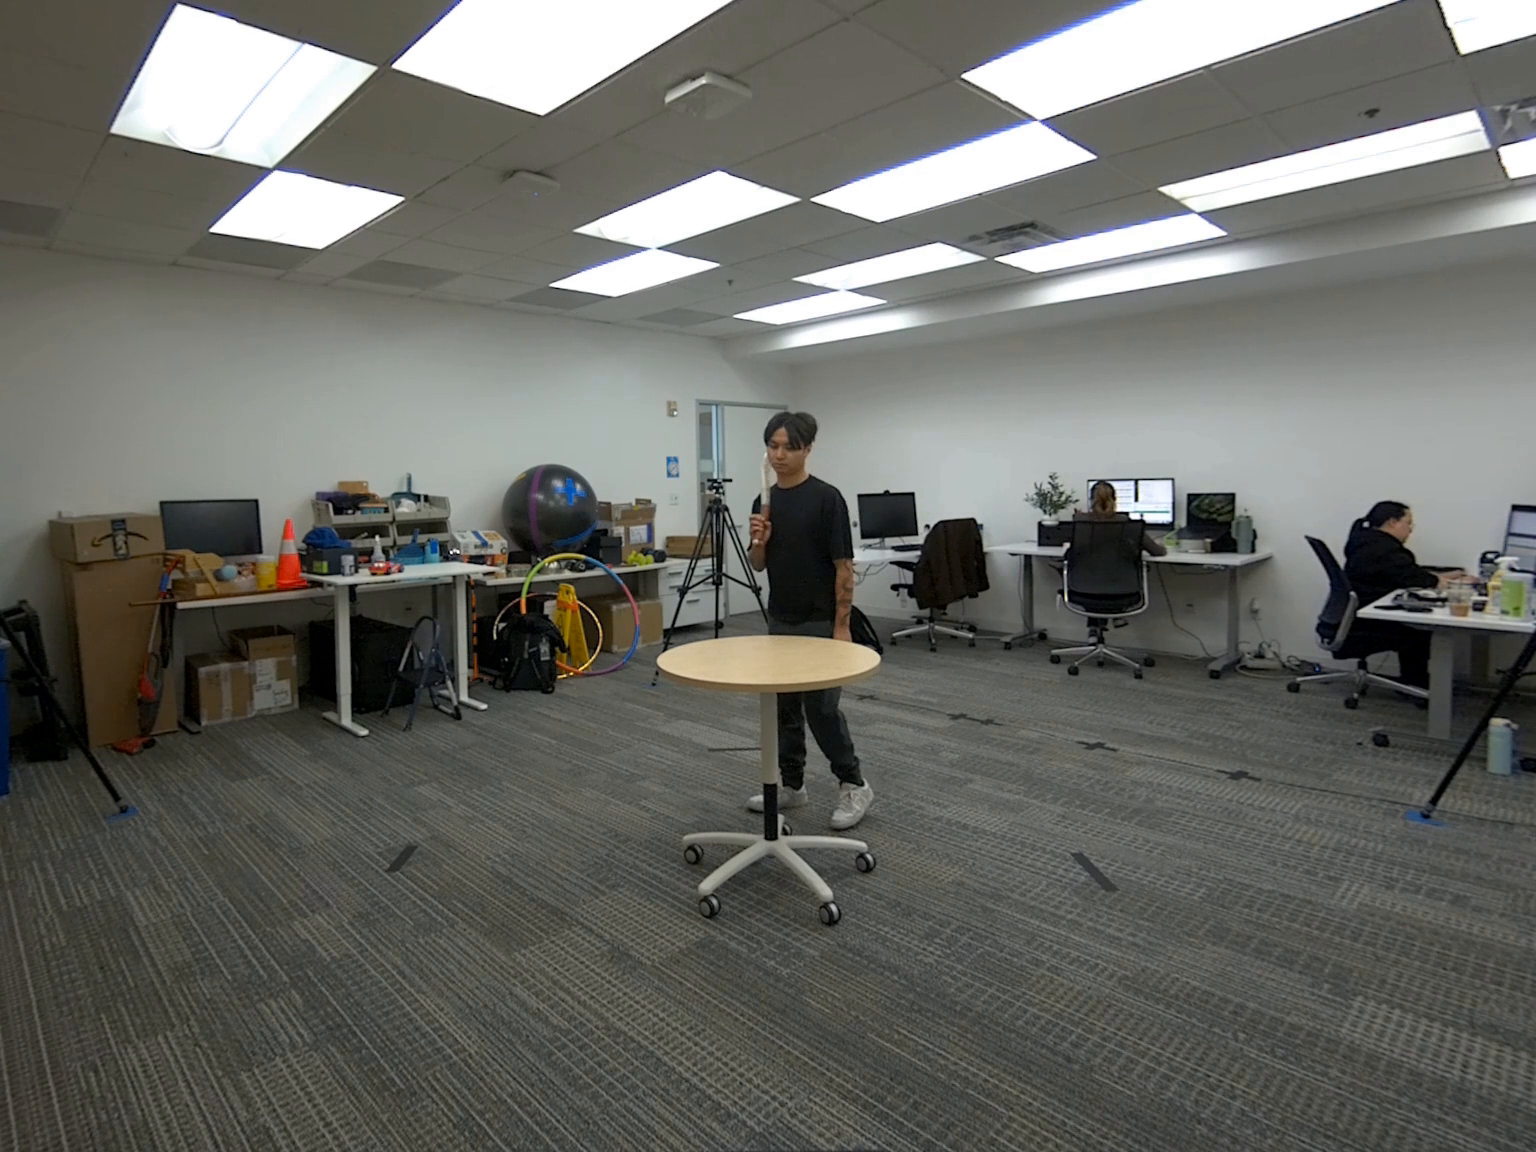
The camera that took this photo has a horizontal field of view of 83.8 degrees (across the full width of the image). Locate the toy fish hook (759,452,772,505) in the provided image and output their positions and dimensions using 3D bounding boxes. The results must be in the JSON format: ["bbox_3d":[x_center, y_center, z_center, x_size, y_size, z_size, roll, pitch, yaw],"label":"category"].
[{"bbox_3d":[0.049,-0.315,3.588,0.218,0.515,0.049,30,-36,-25],"label":"toy fish hook"}]
